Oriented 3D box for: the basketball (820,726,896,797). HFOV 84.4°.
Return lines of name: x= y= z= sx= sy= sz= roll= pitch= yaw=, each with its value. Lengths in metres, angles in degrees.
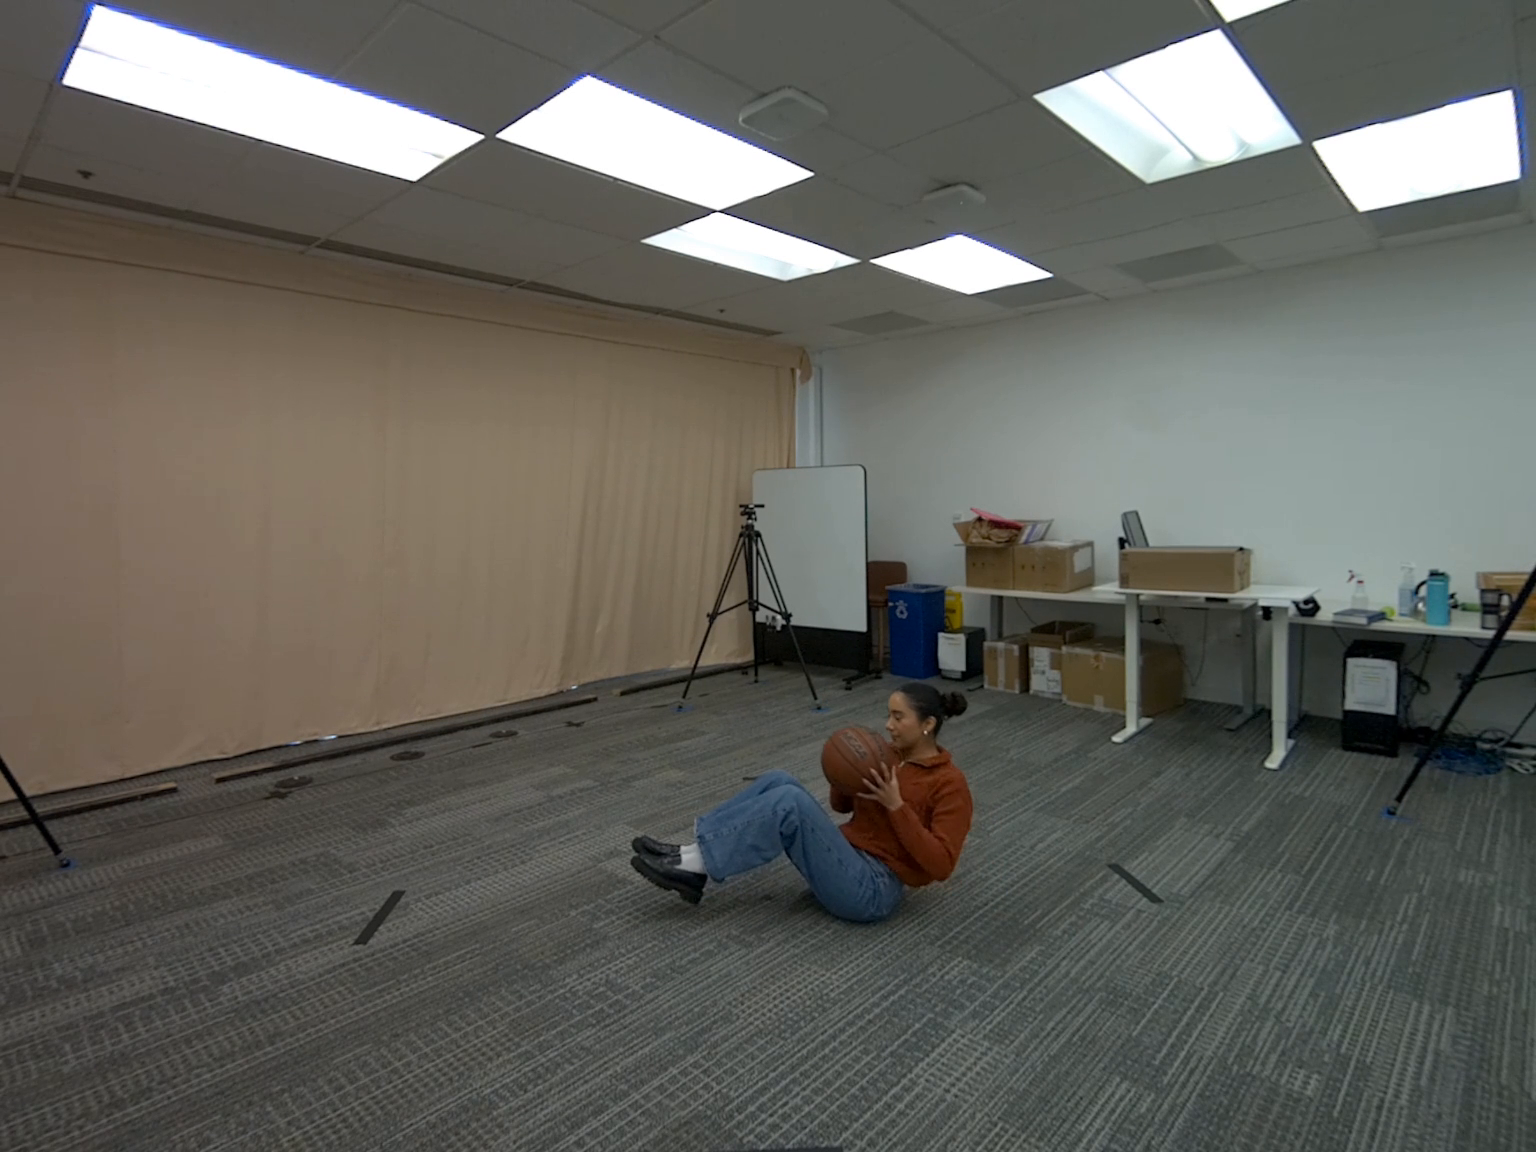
basketball: x=0.320 y=0.645 z=2.818 sx=0.236 sy=0.235 sz=0.237 roll=-1 pitch=4 yaw=-2
